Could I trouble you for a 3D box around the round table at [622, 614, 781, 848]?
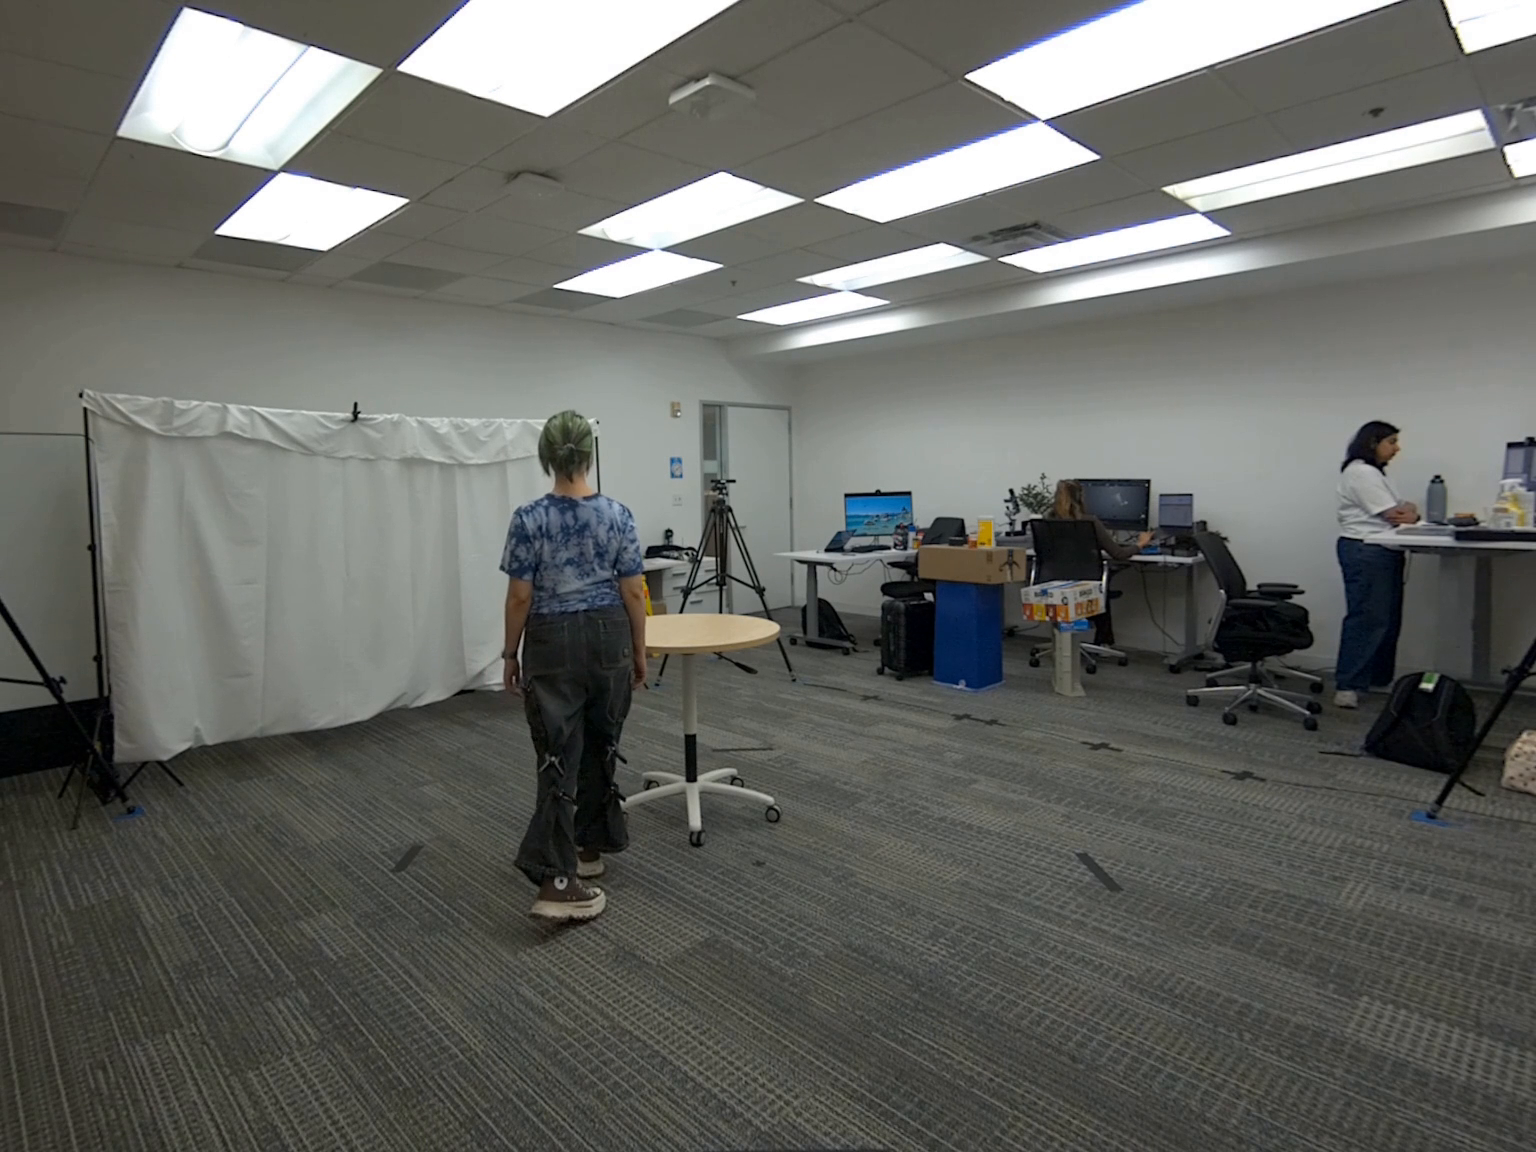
[{"bbox_3d":[-0.320,0.611,3.564,0.763,0.791,0.768,-1,5,-2],"label":"round table"}]
